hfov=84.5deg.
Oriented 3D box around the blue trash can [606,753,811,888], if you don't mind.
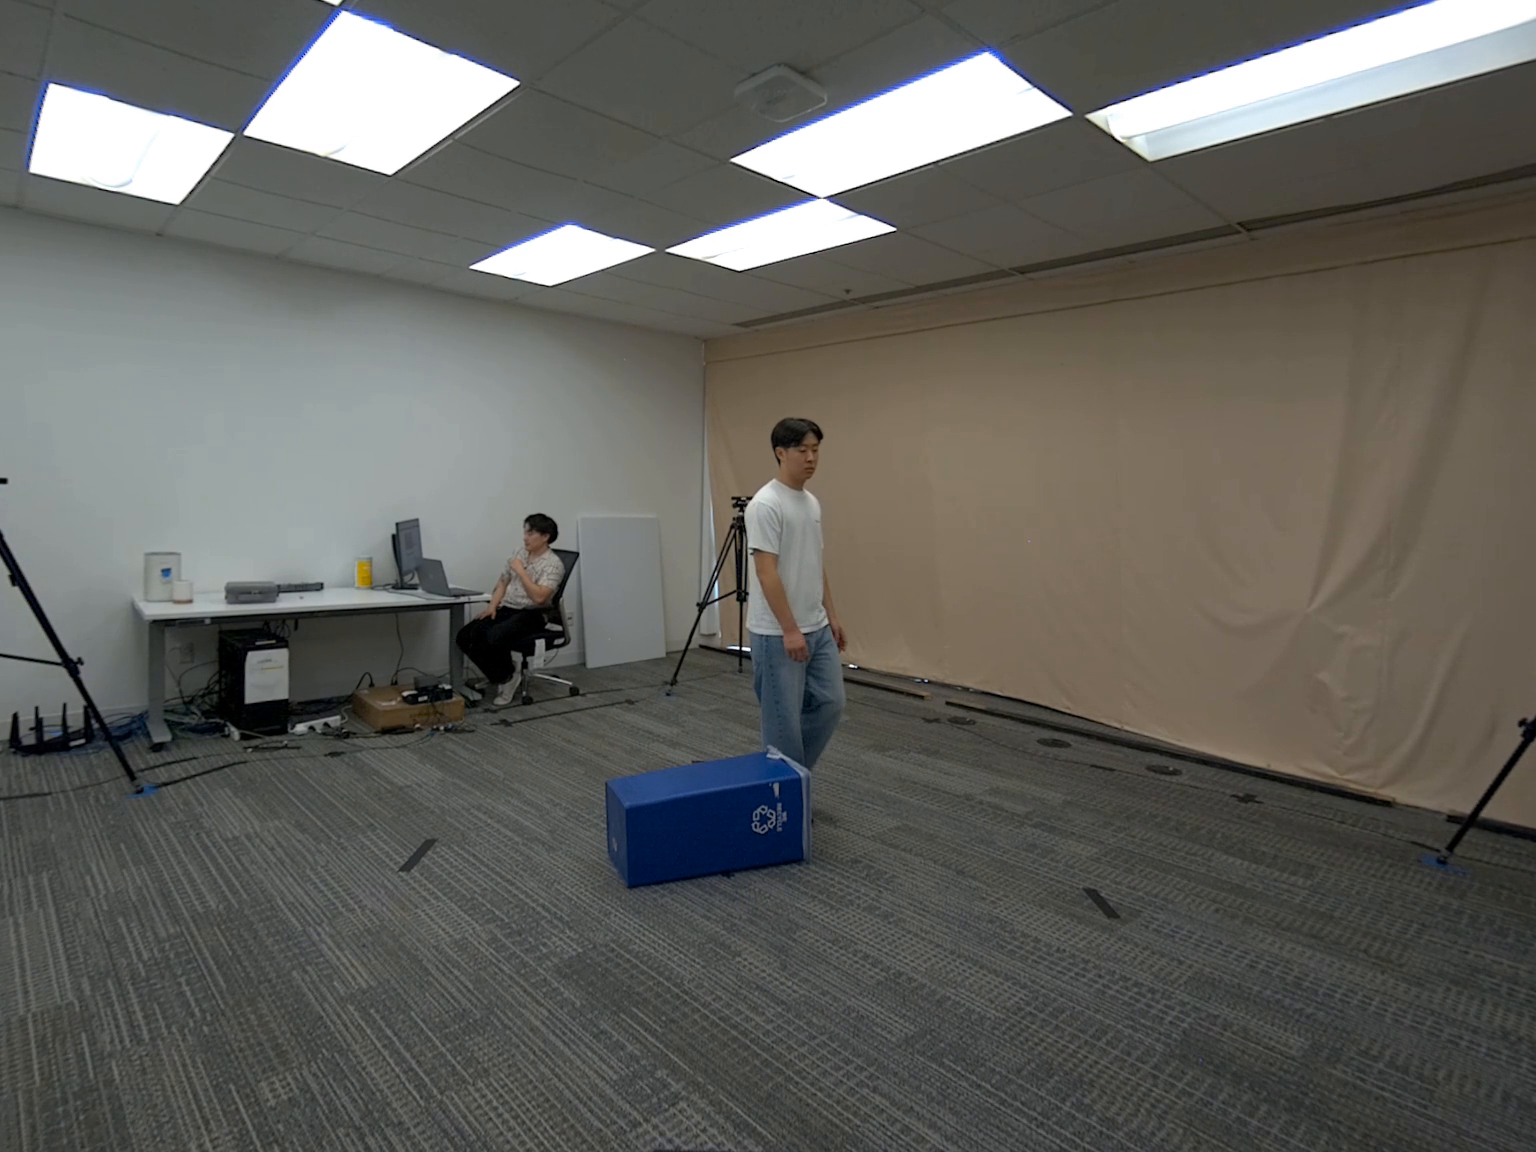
[{"bbox_3d":[-0.242,0.932,3.223,0.702,0.377,0.381,-3,6,-23],"label":"blue trash can"}]
